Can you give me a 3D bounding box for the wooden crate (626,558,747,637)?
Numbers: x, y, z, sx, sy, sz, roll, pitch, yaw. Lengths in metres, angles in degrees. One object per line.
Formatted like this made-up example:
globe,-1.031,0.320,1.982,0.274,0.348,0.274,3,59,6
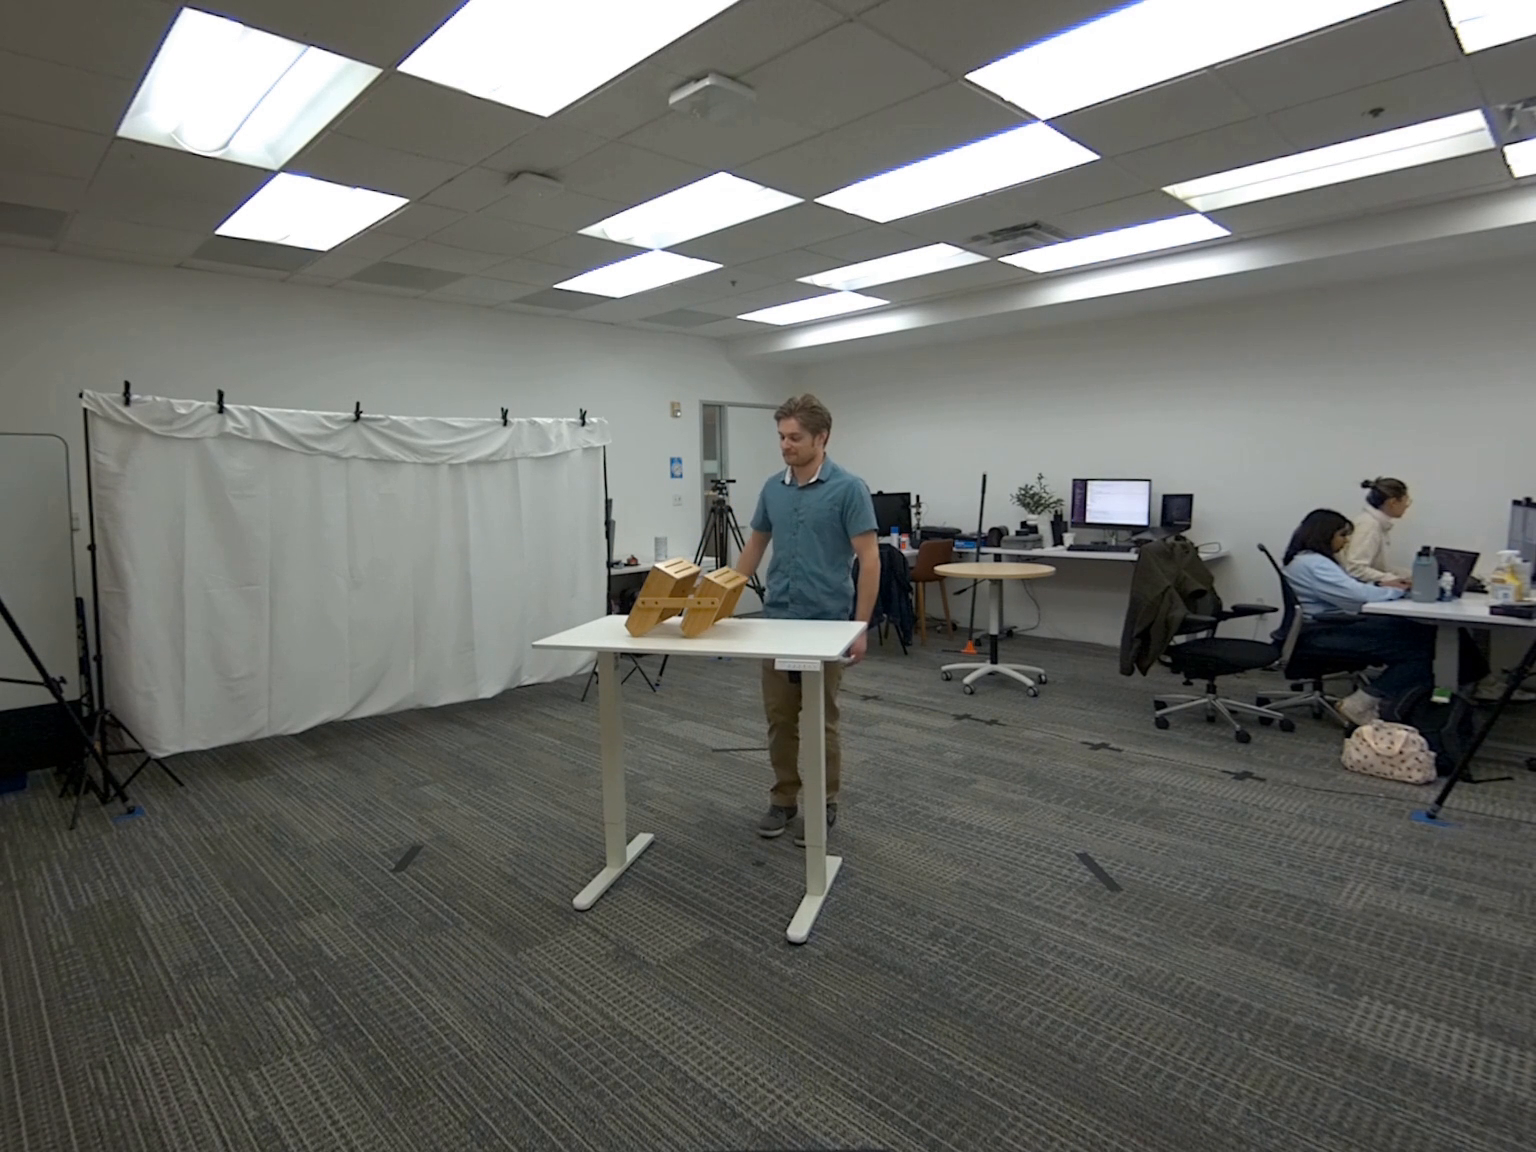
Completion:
wooden crate,-0.269,0.099,2.931,0.277,0.300,0.321,27,11,10
